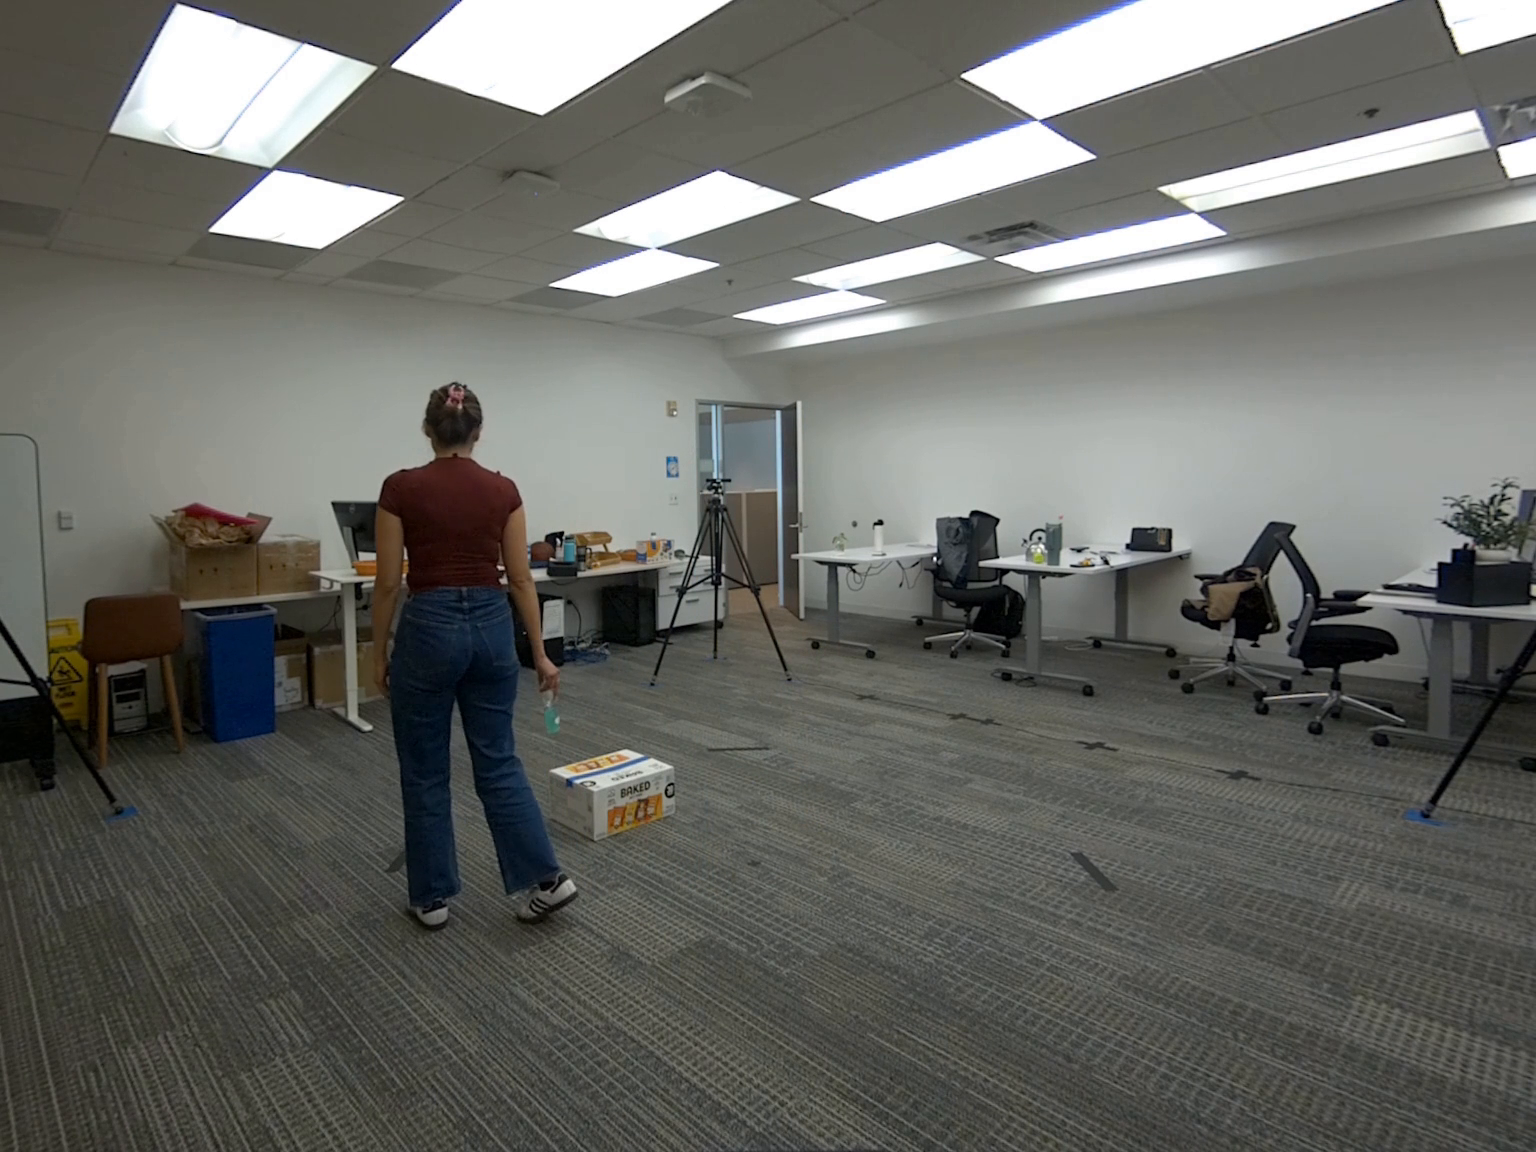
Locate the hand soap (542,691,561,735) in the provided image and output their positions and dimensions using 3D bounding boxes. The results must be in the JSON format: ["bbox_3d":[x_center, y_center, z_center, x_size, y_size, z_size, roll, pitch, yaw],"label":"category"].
[{"bbox_3d":[-0.736,0.439,2.864,0.043,0.168,0.084,-7,2,2],"label":"hand soap"}]
